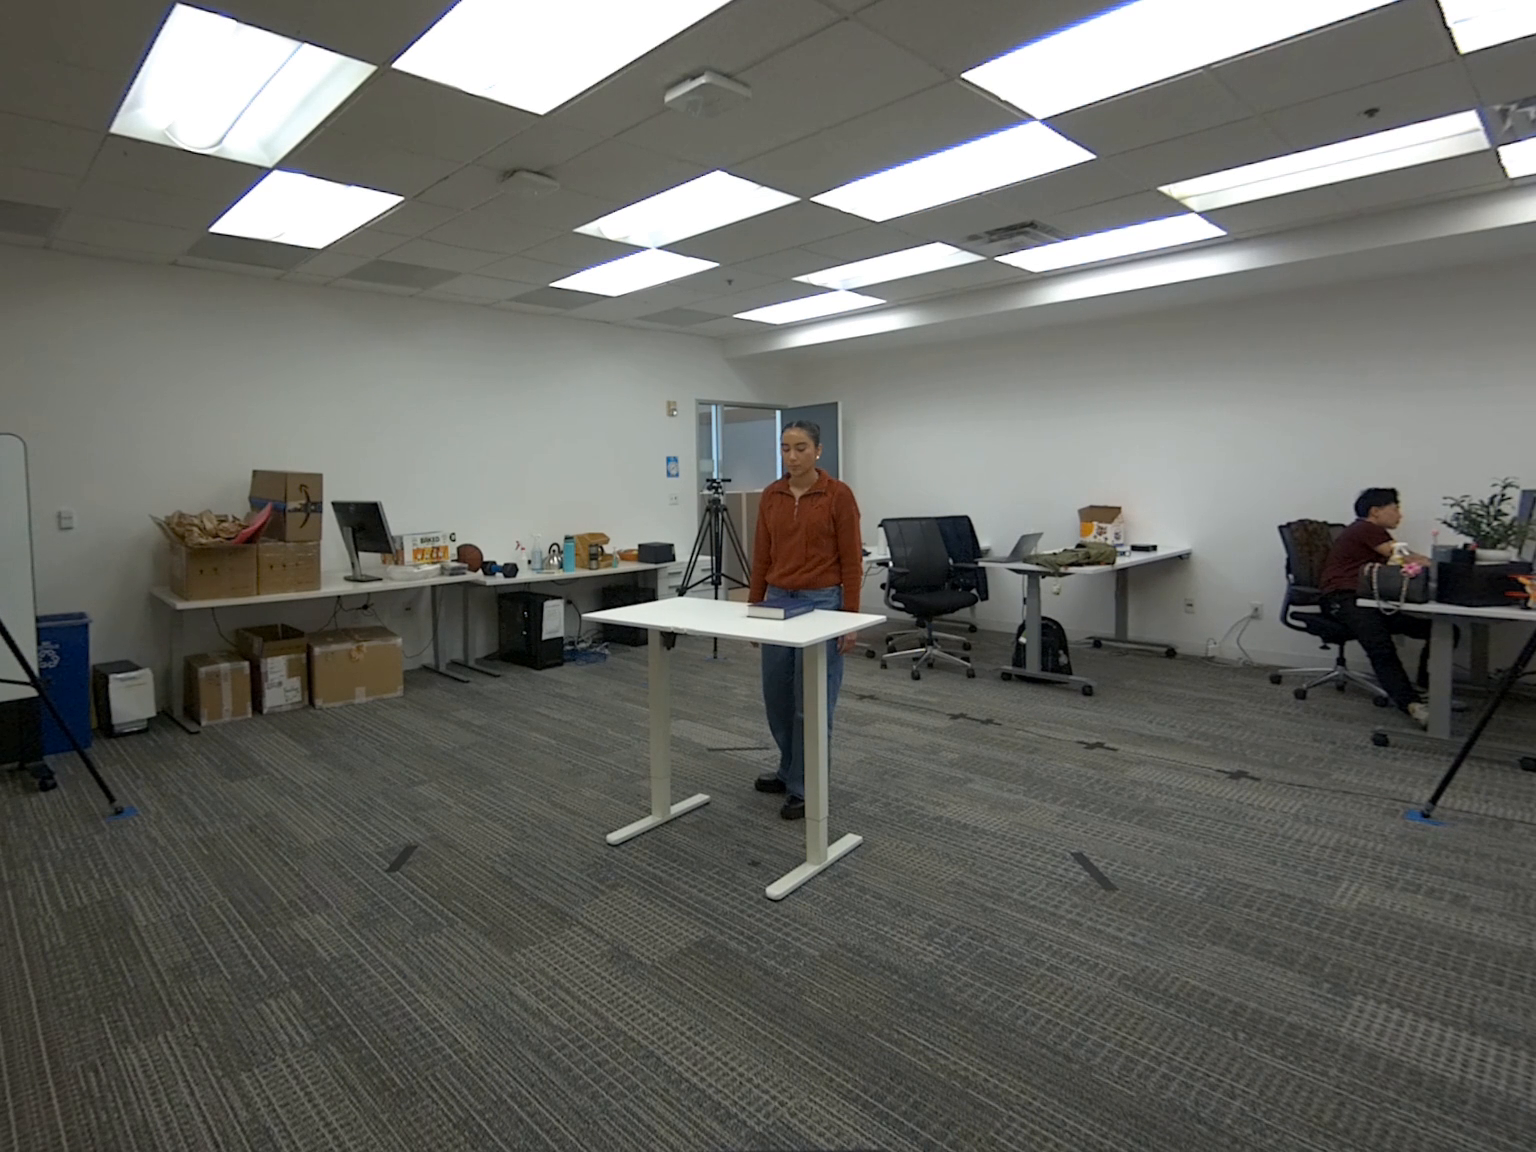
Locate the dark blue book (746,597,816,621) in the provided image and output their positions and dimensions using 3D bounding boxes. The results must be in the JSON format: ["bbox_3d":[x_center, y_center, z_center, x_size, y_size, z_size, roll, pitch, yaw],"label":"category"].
[{"bbox_3d":[0.042,0.124,3.248,0.168,0.045,0.240,3,7,30],"label":"dark blue book"}]
